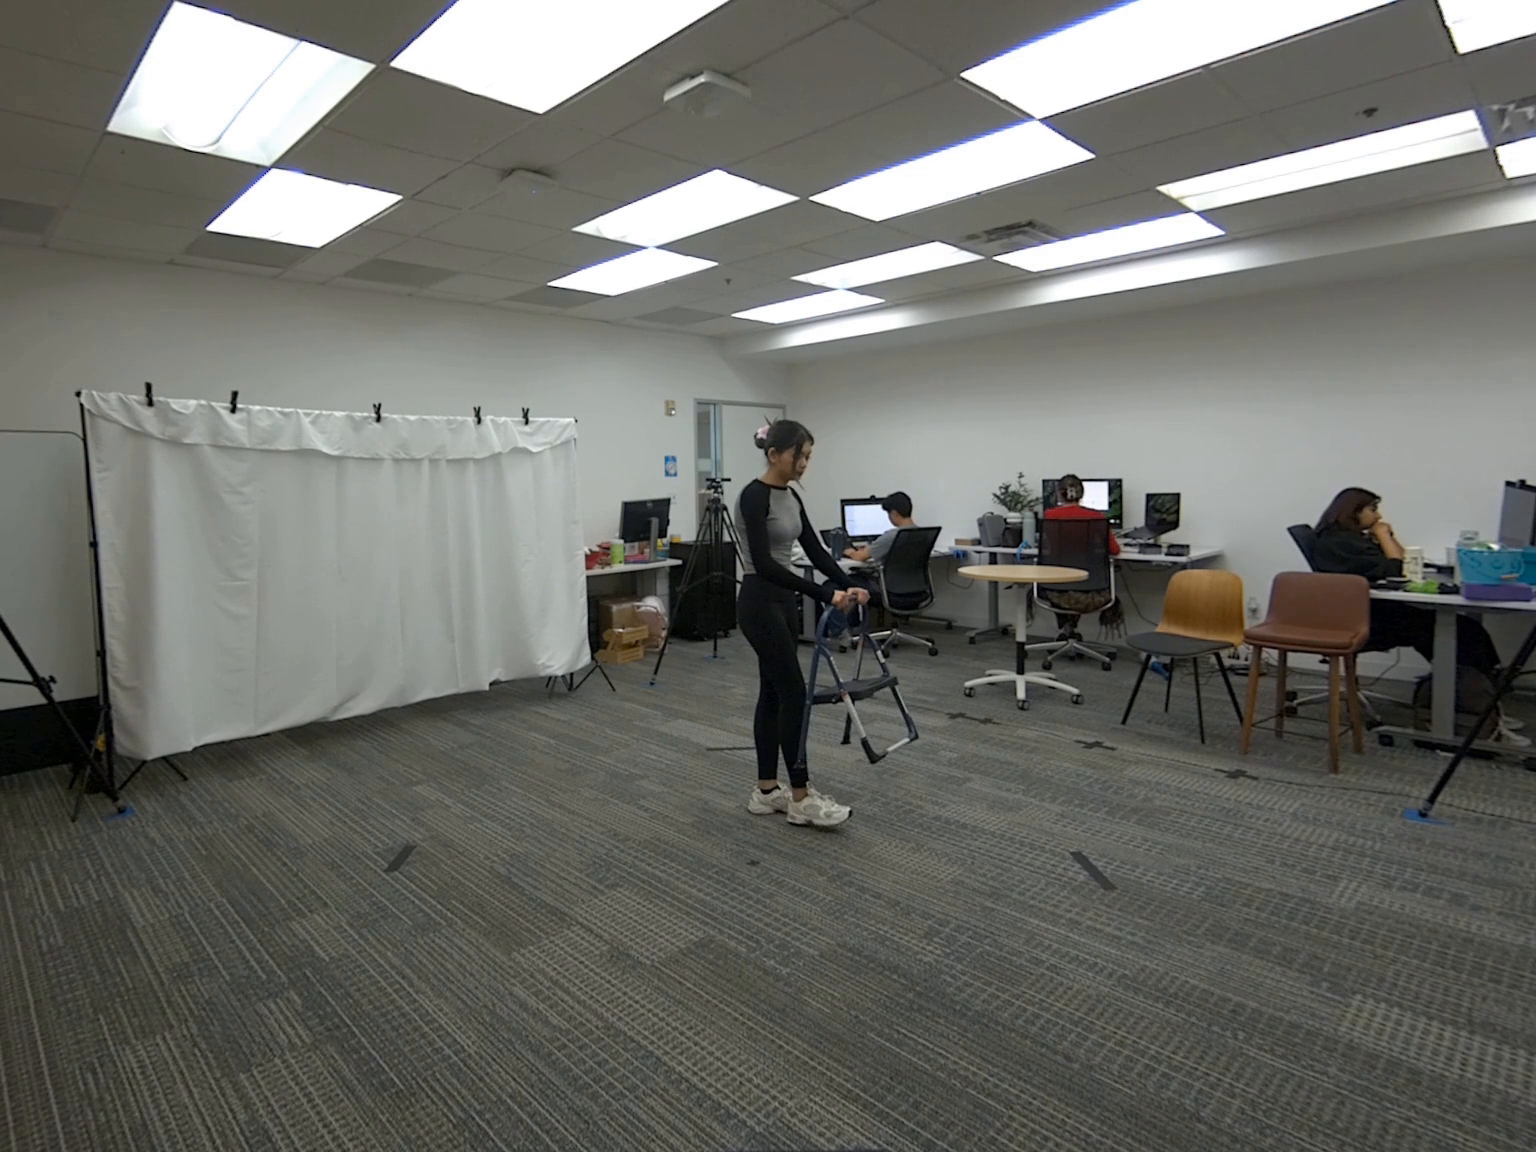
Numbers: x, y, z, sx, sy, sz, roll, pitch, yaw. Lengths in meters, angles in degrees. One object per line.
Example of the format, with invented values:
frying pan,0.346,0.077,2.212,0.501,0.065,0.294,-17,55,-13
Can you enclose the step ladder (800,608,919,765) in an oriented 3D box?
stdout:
step ladder,0.299,0.394,3.348,0.356,0.609,0.420,-13,-4,32
